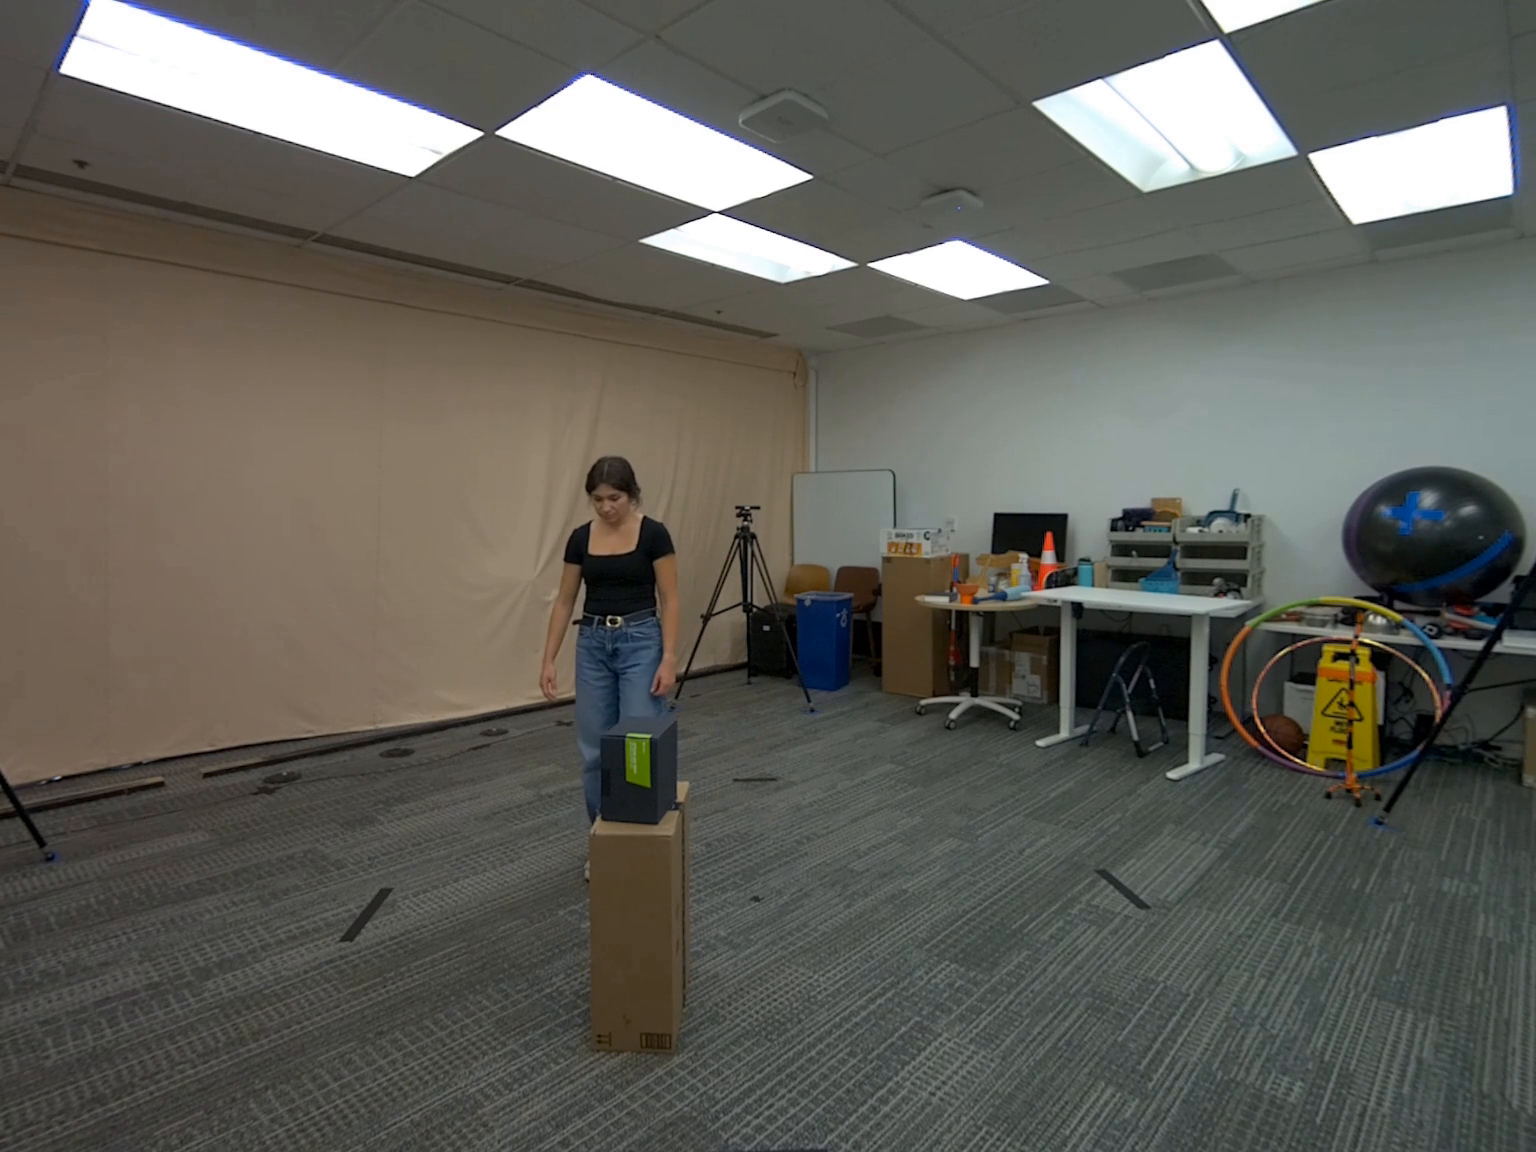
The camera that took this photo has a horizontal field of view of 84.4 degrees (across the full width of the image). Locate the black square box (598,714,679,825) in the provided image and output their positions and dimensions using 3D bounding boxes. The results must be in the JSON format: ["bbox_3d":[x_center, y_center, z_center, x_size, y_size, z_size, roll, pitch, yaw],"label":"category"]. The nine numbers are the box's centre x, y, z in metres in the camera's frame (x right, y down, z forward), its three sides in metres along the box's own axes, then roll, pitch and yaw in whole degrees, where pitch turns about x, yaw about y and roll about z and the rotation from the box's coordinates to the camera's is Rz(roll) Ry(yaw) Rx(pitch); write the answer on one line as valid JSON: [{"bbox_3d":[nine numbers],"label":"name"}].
[{"bbox_3d":[-0.343,0.520,2.297,0.157,0.227,0.215,0,4,9],"label":"black square box"}]
